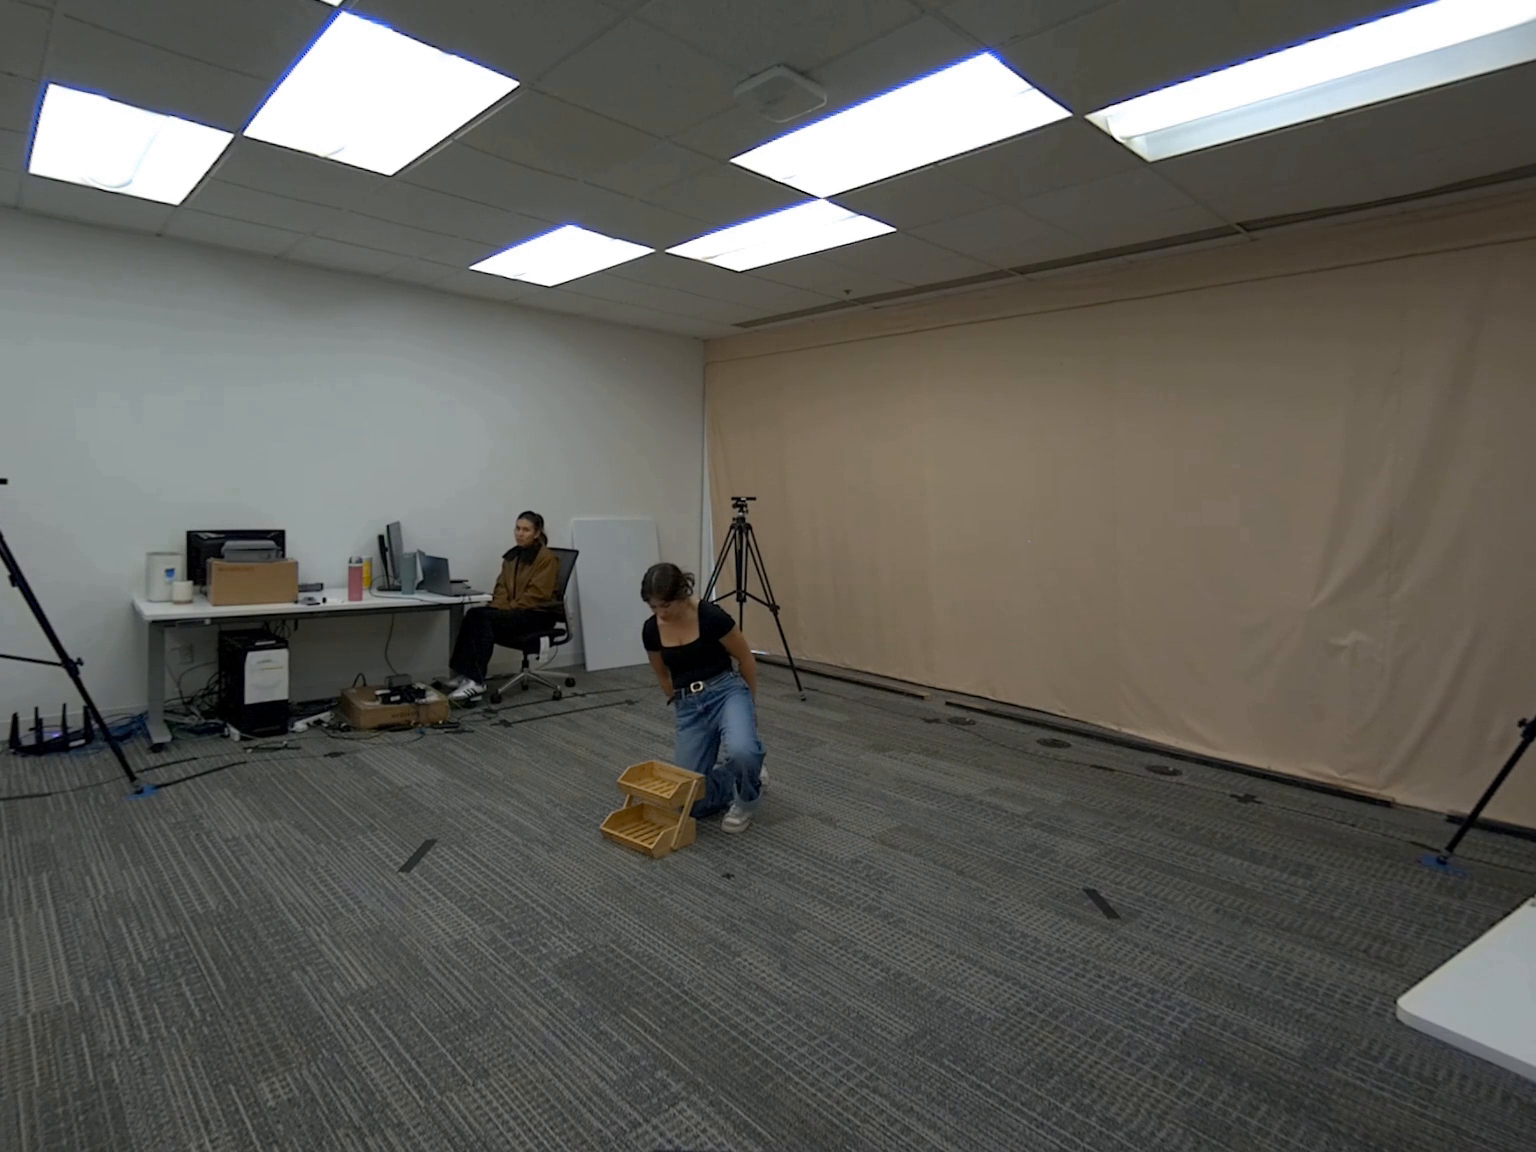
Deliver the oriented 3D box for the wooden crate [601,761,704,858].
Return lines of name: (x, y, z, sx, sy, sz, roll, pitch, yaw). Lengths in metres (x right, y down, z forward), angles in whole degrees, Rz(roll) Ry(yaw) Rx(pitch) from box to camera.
wooden crate: (-0.481, 0.940, 3.422, 0.332, 0.273, 0.295, 4, 5, 38)
